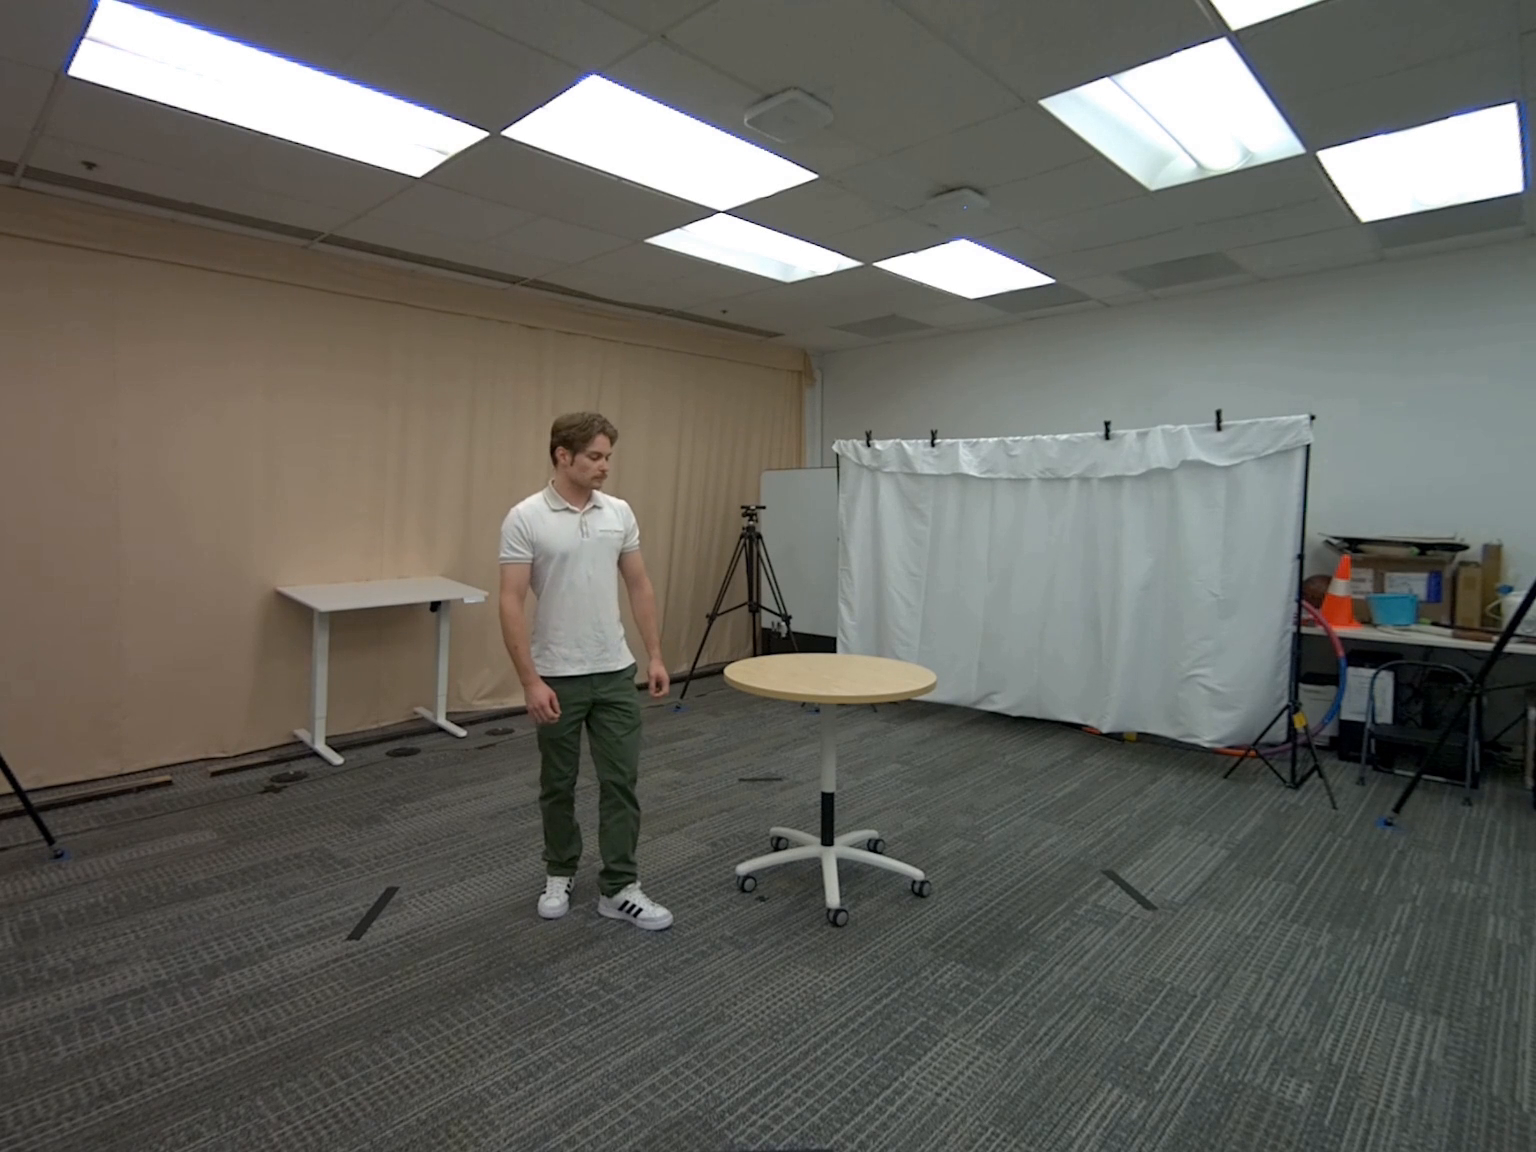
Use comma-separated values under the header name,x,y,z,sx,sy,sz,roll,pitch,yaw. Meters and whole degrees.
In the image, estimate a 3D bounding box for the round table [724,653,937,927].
name,x,y,z,sx,sy,sz,roll,pitch,yaw
round table,0.224,0.744,3.101,0.763,0.792,0.766,0,3,-2
